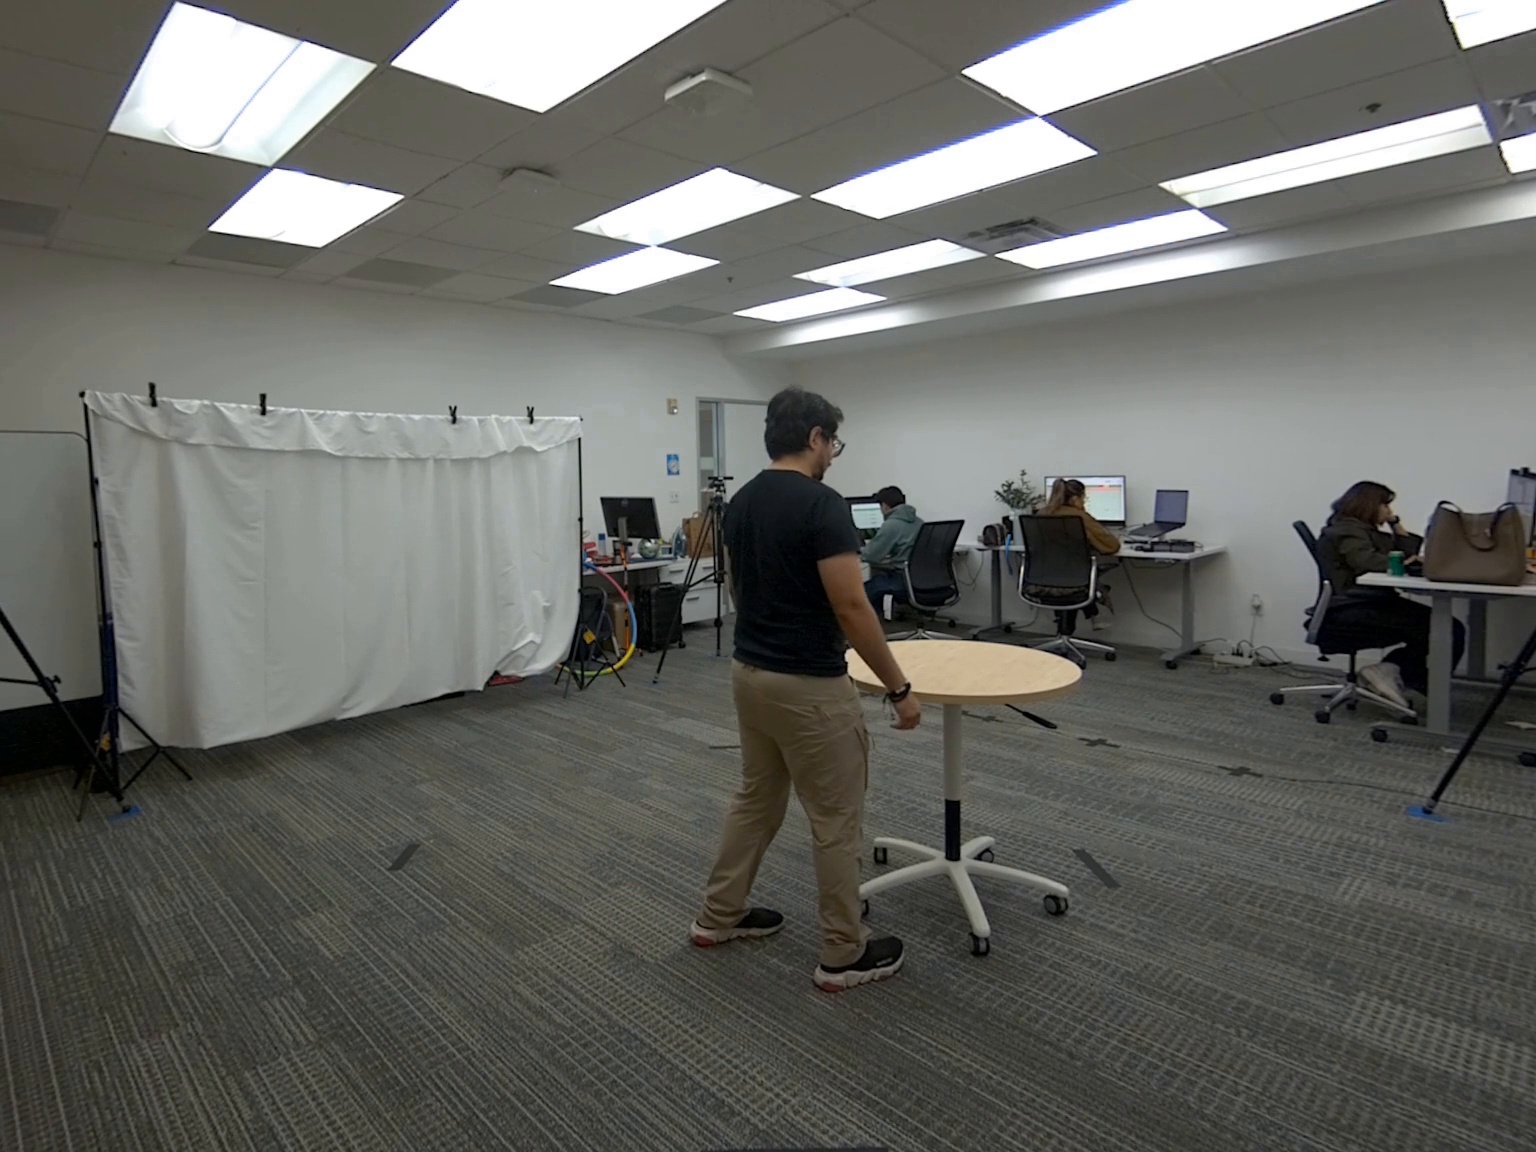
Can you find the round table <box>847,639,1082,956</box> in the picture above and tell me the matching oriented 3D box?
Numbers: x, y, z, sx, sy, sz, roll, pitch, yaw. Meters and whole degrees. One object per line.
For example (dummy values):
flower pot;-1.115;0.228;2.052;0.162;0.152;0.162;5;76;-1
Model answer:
round table;0.611;0.670;2.765;0.784;0.783;0.789;-1;5;-2
